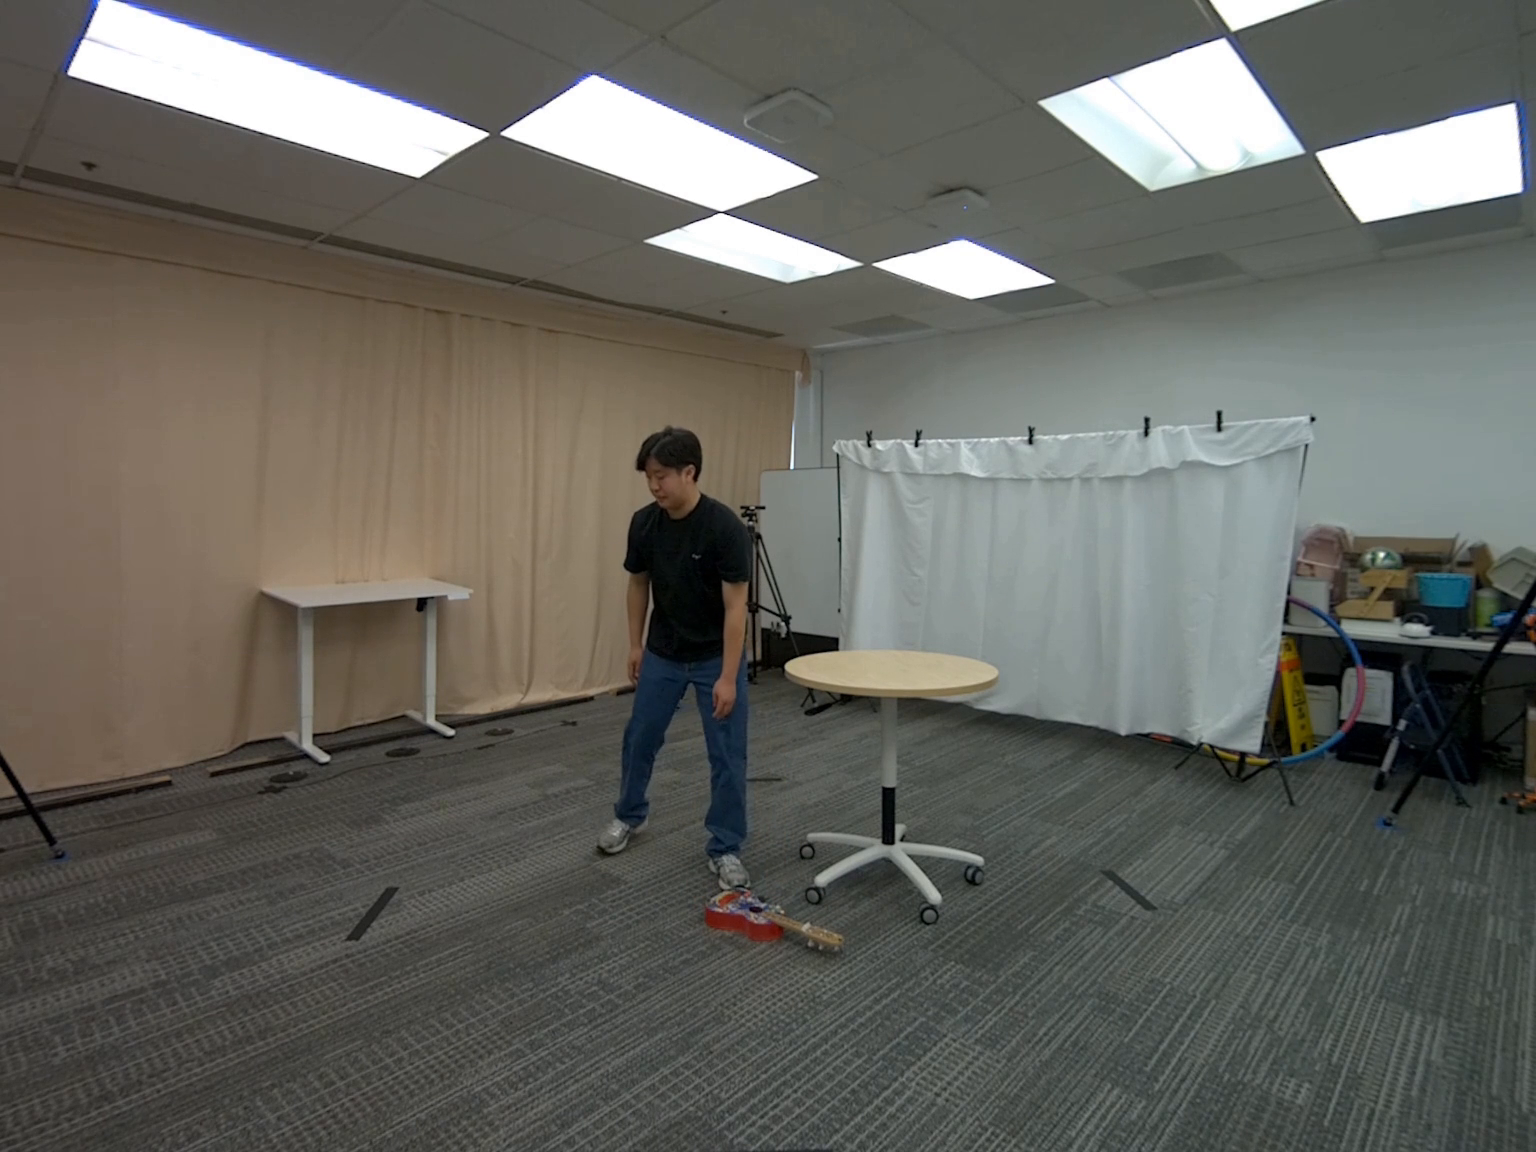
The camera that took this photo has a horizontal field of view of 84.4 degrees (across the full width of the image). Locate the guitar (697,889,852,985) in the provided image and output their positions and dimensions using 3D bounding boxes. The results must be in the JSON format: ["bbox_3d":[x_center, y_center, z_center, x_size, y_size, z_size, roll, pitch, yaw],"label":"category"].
[{"bbox_3d":[0.008,1.134,2.711,0.187,0.070,0.514,-4,6,-44],"label":"guitar"}]
